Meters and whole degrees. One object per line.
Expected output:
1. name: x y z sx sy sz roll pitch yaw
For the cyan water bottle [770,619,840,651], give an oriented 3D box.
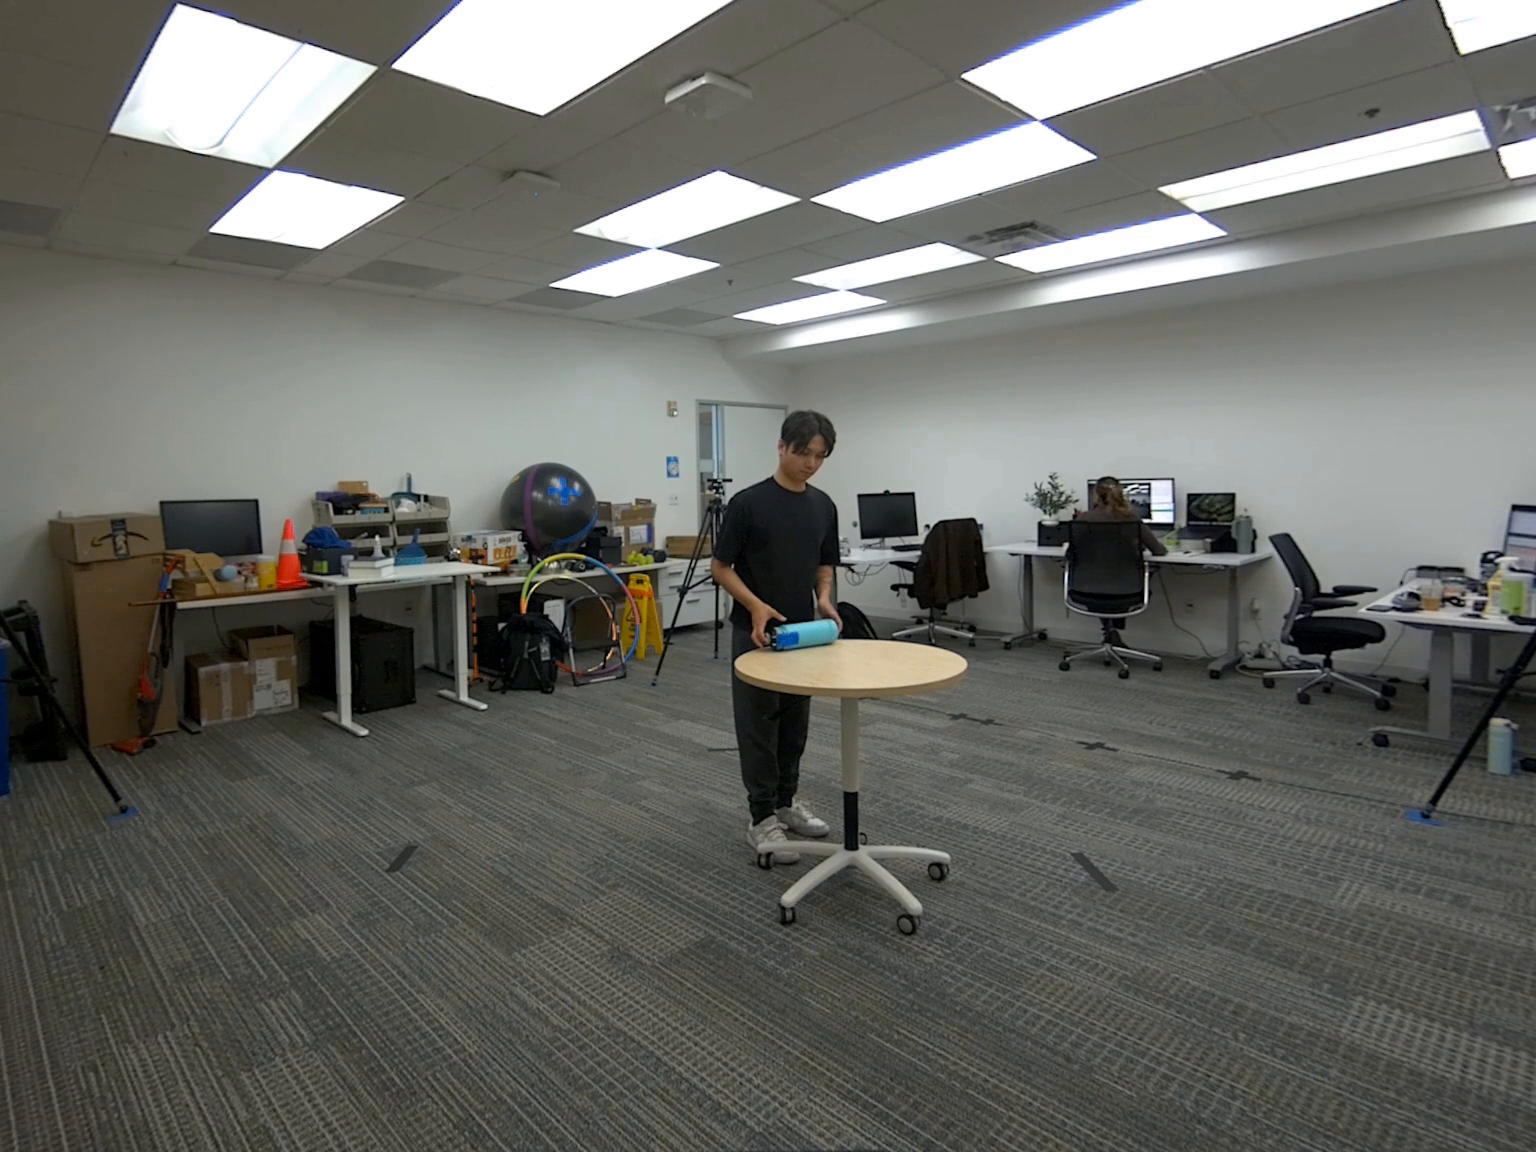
1. cyan water bottle: 0.115 0.215 3.107 0.277 0.092 0.095 -5 6 -31
